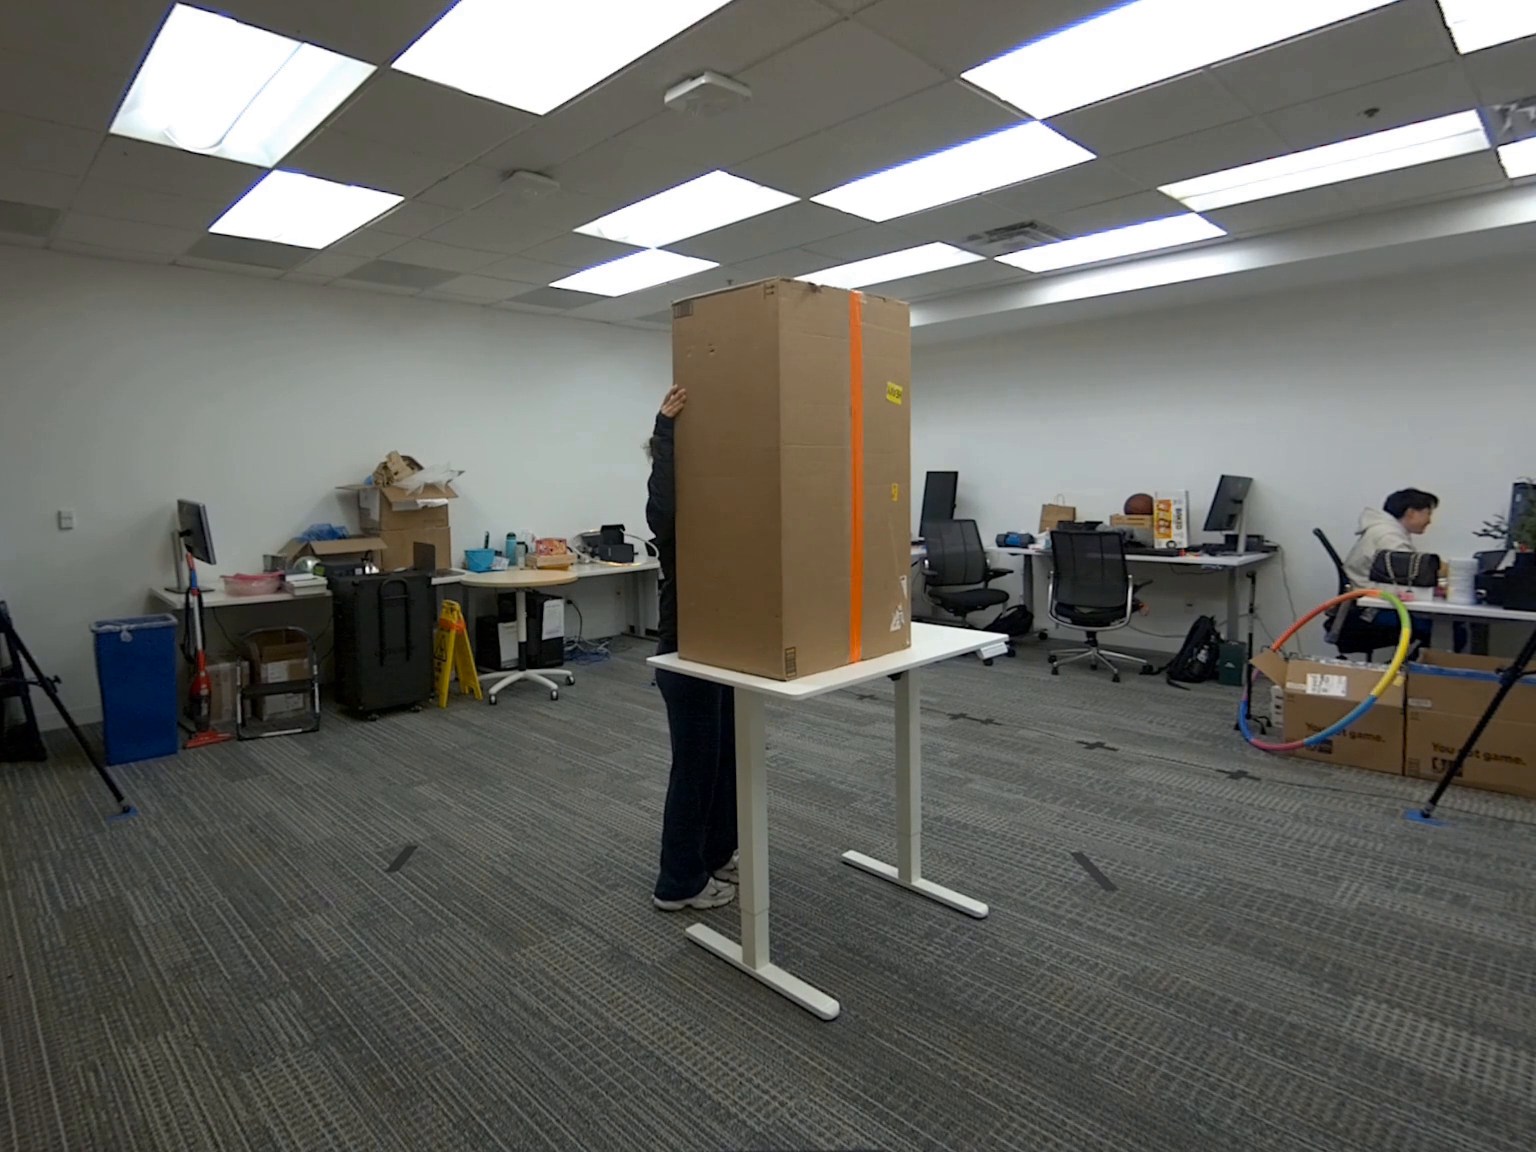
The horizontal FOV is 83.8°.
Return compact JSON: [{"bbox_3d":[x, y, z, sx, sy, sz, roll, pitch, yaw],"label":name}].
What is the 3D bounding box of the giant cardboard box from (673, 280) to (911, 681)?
[{"bbox_3d":[0.080,-0.282,2.500,0.569,1.022,0.461,-6,7,-44],"label":"giant cardboard box"}]
